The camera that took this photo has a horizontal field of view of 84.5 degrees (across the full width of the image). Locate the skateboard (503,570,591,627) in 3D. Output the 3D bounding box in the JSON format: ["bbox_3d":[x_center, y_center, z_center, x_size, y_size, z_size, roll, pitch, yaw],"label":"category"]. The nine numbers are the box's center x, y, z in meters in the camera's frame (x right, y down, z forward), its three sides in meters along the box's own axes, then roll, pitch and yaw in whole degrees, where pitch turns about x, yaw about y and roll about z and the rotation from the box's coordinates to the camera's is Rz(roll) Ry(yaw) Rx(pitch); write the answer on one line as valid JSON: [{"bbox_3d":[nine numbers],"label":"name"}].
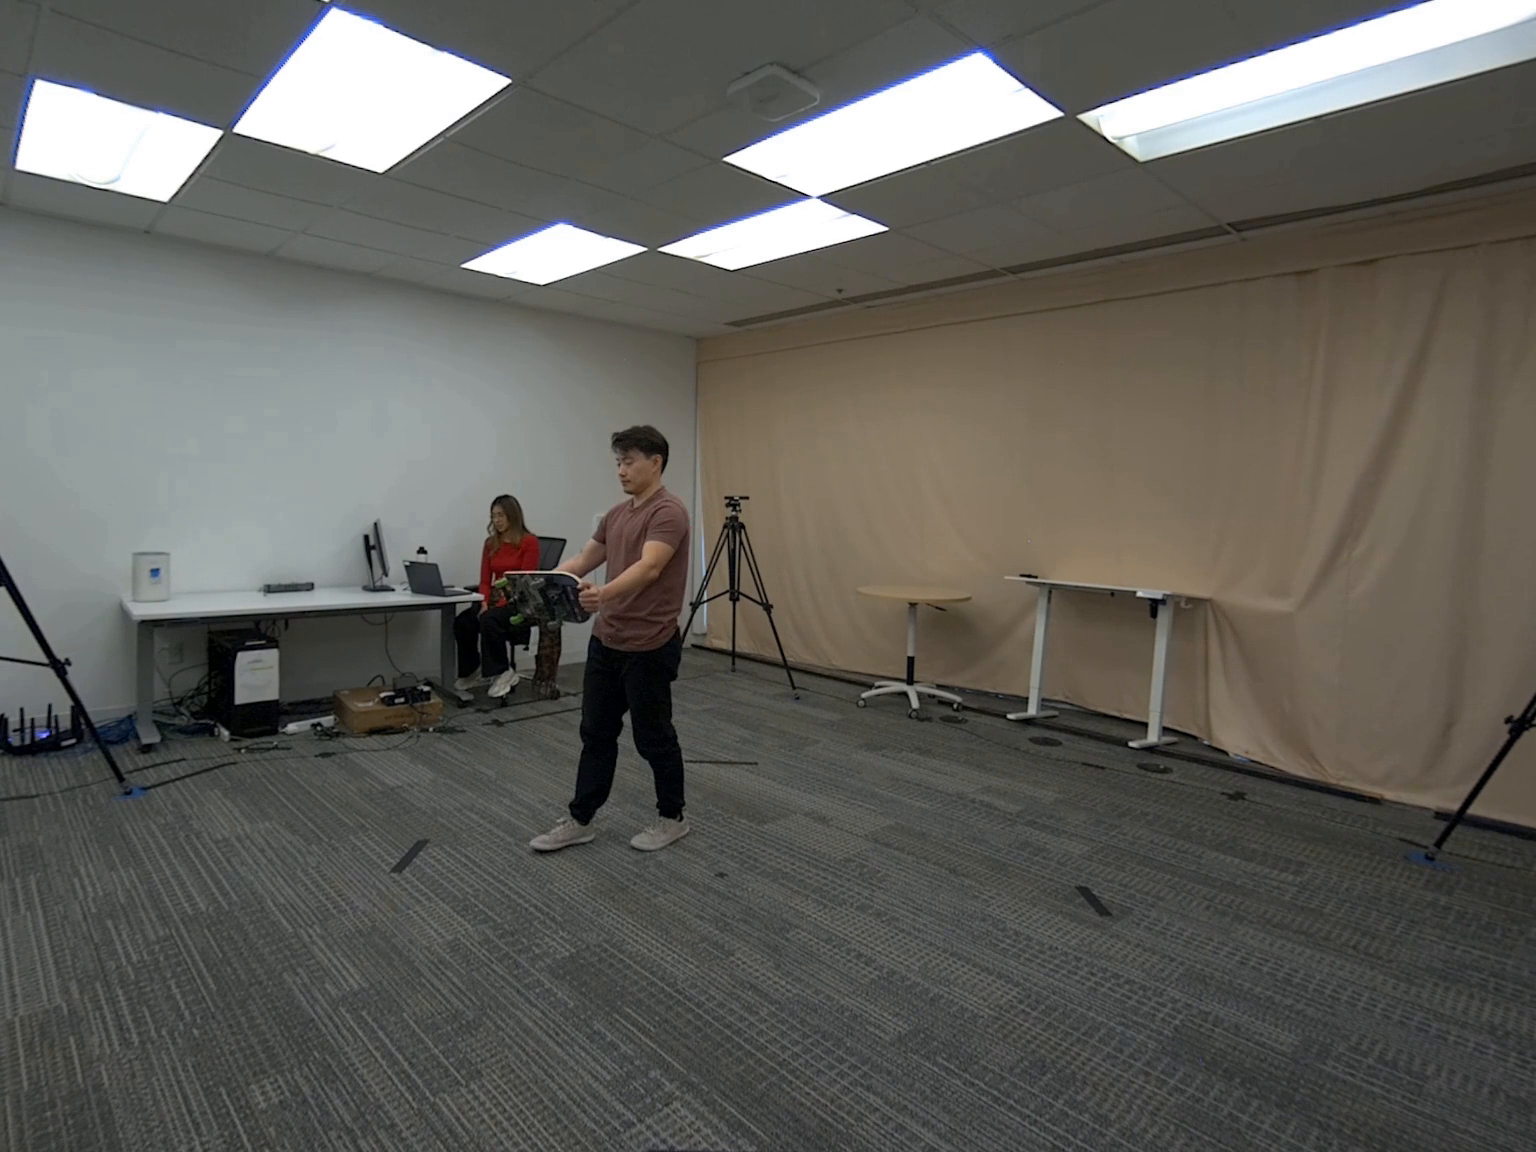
[{"bbox_3d":[-0.872,0.087,3.090,0.109,0.191,0.802,-27,15,-31],"label":"skateboard"}]
